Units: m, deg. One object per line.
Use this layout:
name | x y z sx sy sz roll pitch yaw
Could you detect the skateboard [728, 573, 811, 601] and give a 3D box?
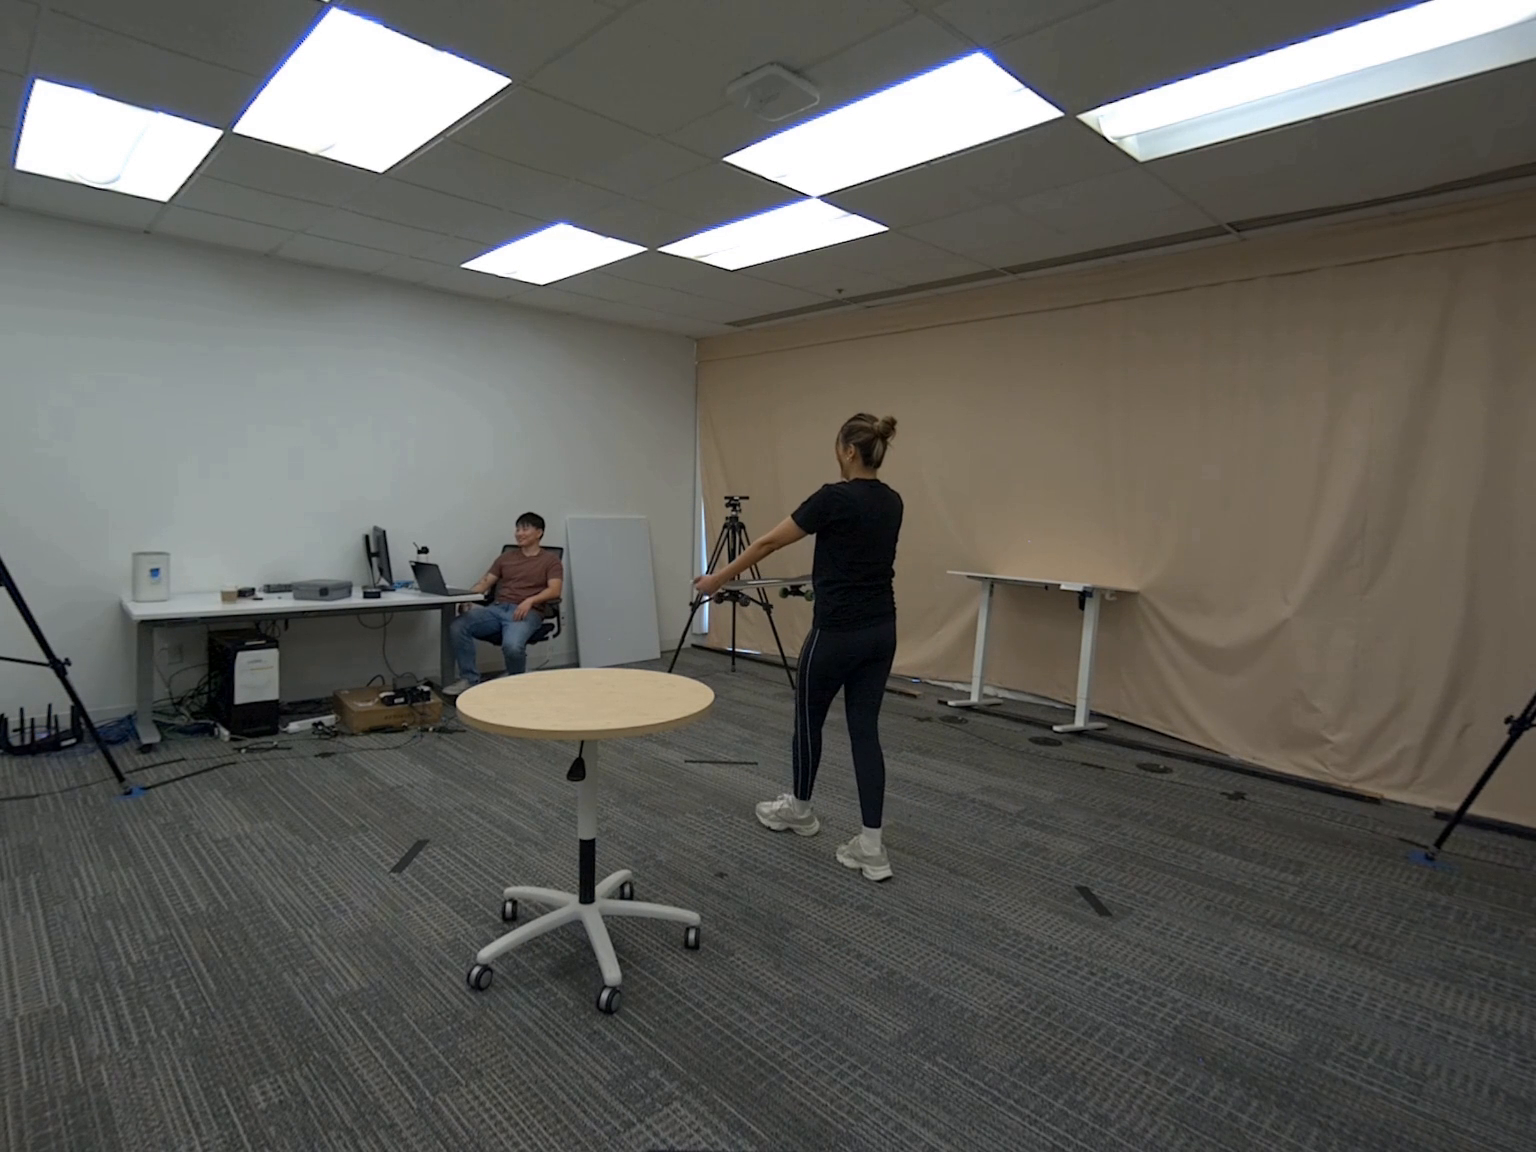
skateboard | -0.016 0.059 3.609 0.768 0.110 0.198 -4 5 -43
